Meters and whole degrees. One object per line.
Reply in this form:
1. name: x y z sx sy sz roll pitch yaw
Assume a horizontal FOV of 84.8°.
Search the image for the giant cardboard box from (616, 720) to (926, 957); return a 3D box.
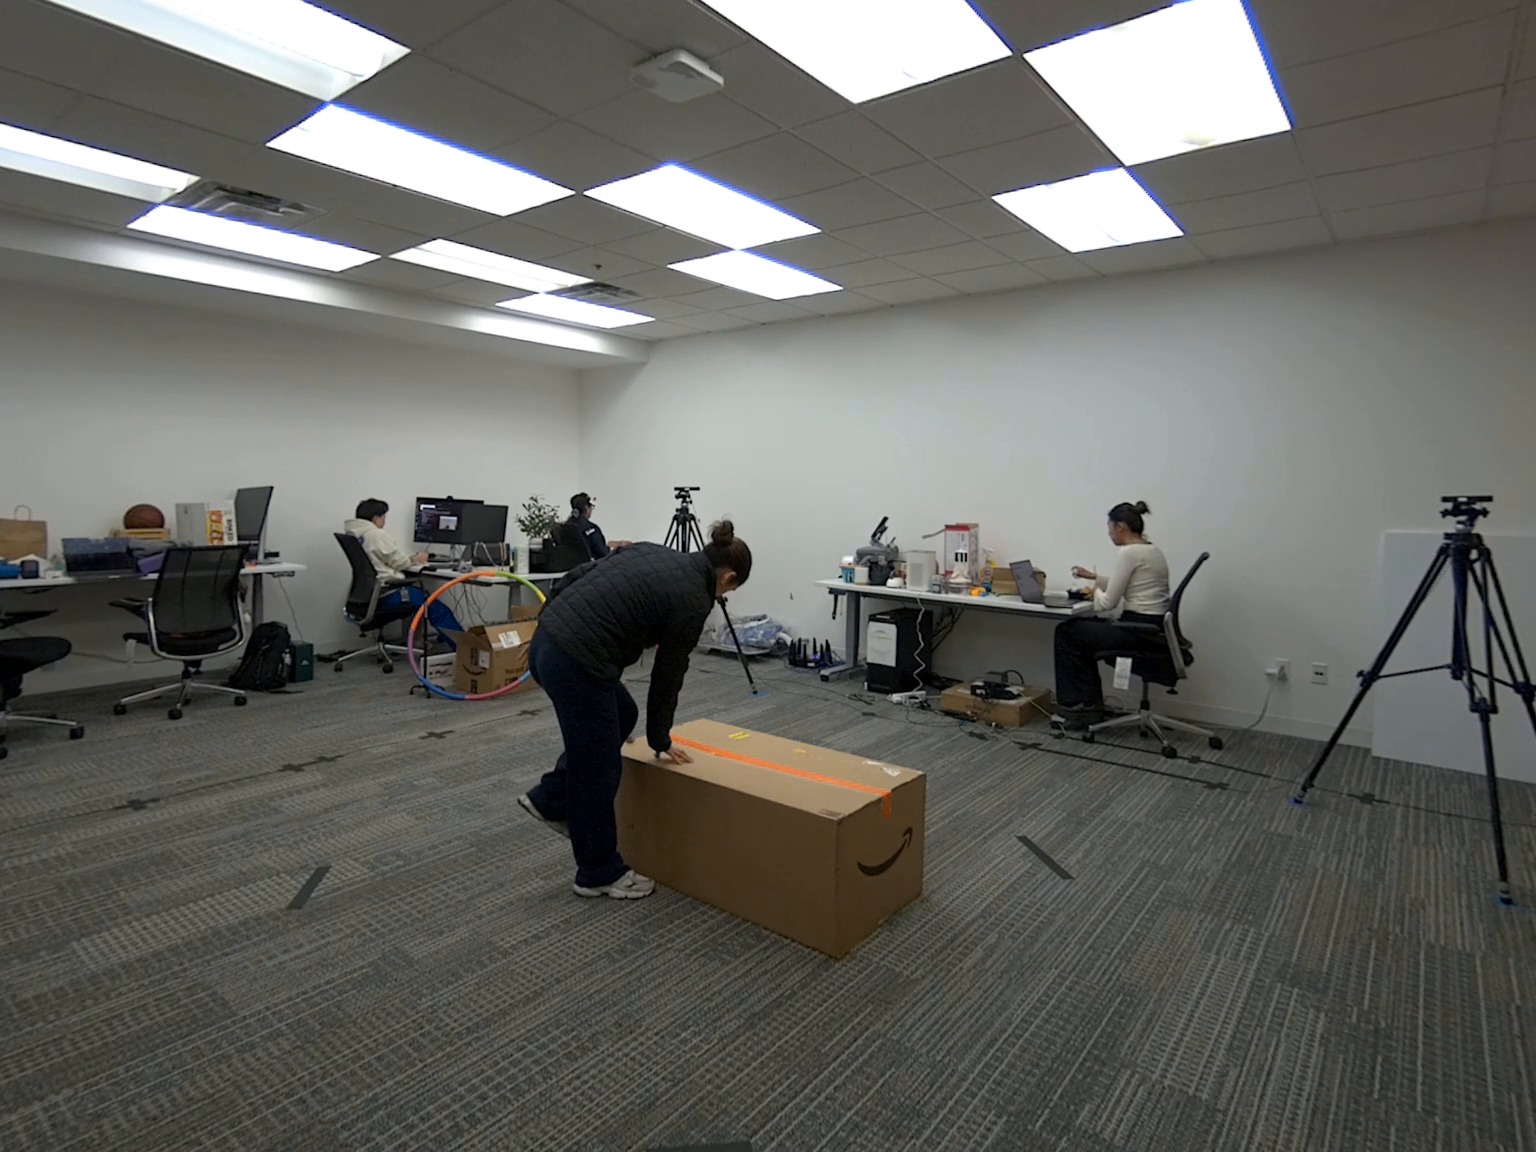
1. giant cardboard box: -0.021 0.867 3.059 1.062 0.445 0.567 6 8 39
